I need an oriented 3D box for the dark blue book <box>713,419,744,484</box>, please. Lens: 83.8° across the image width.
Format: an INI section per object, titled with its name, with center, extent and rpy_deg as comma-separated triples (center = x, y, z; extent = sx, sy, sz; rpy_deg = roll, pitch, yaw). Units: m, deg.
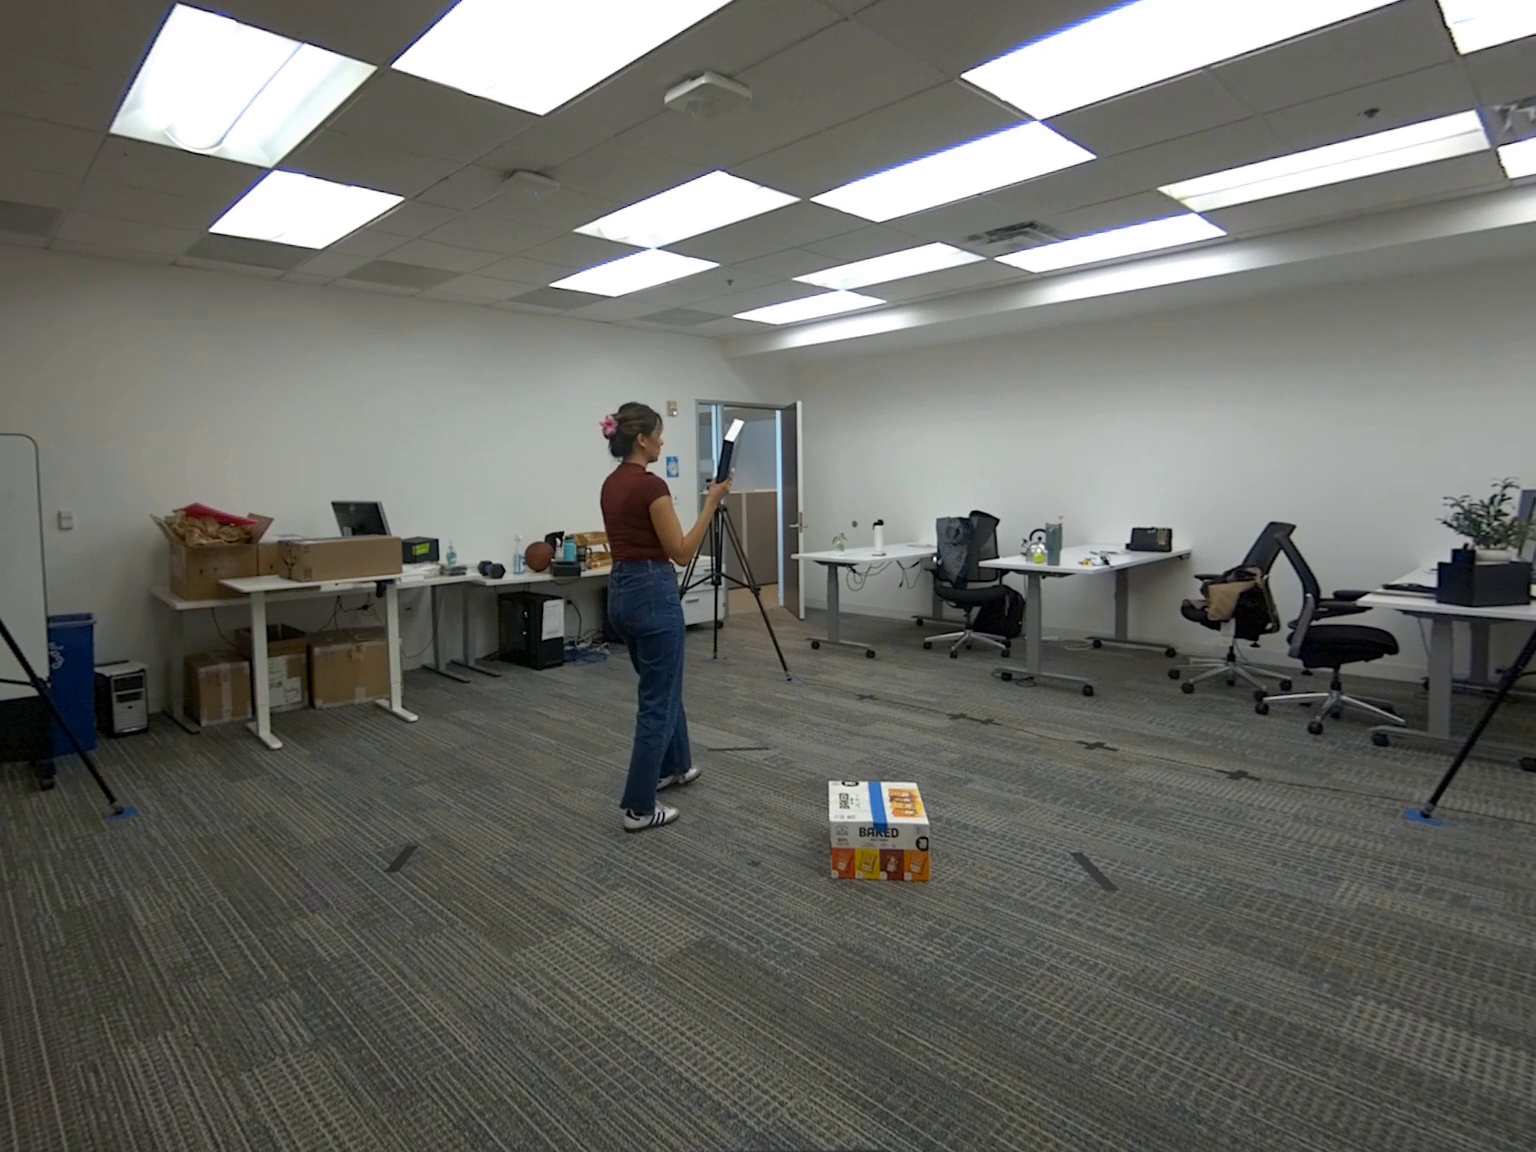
[dark blue book]
center = -0.157, -0.480, 3.381
extent = 0.045, 0.240, 0.166
rpy_deg = 17, 42, 2
